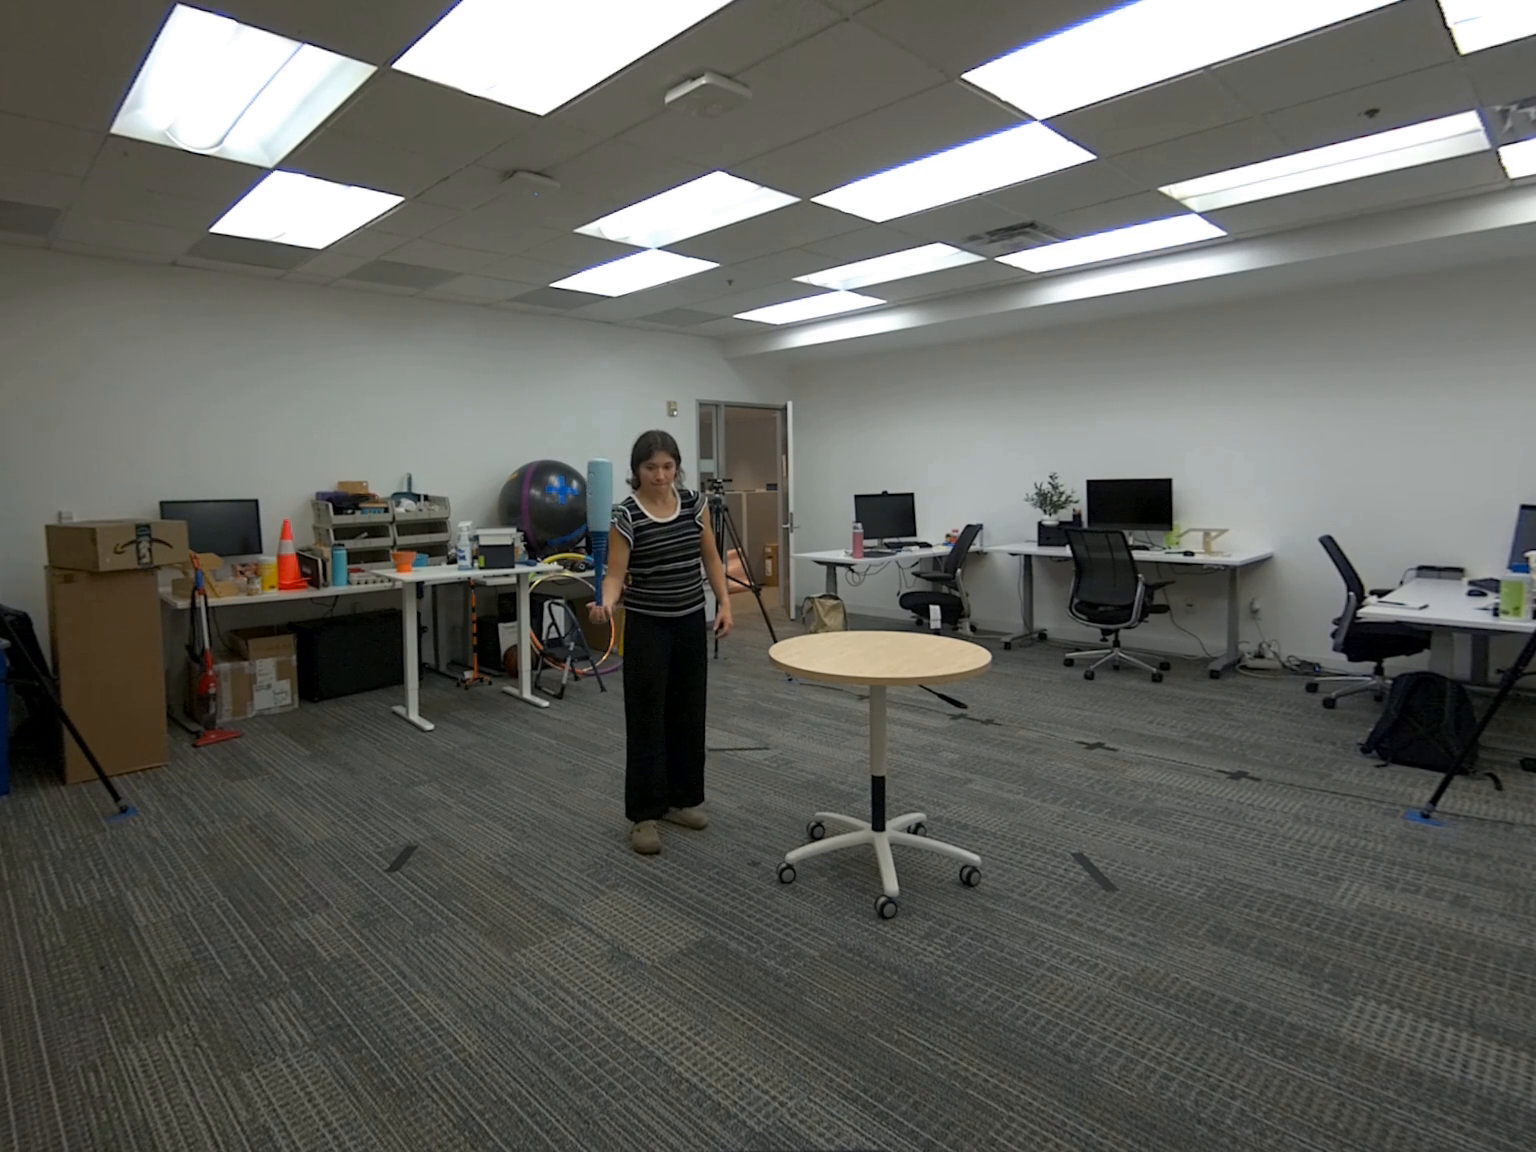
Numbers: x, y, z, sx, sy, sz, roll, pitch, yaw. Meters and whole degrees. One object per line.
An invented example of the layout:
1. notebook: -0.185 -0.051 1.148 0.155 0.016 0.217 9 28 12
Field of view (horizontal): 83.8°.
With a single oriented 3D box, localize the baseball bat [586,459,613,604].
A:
1. baseball bat: -0.588 -0.134 2.968 0.089 0.544 0.089 0 -2 -2
